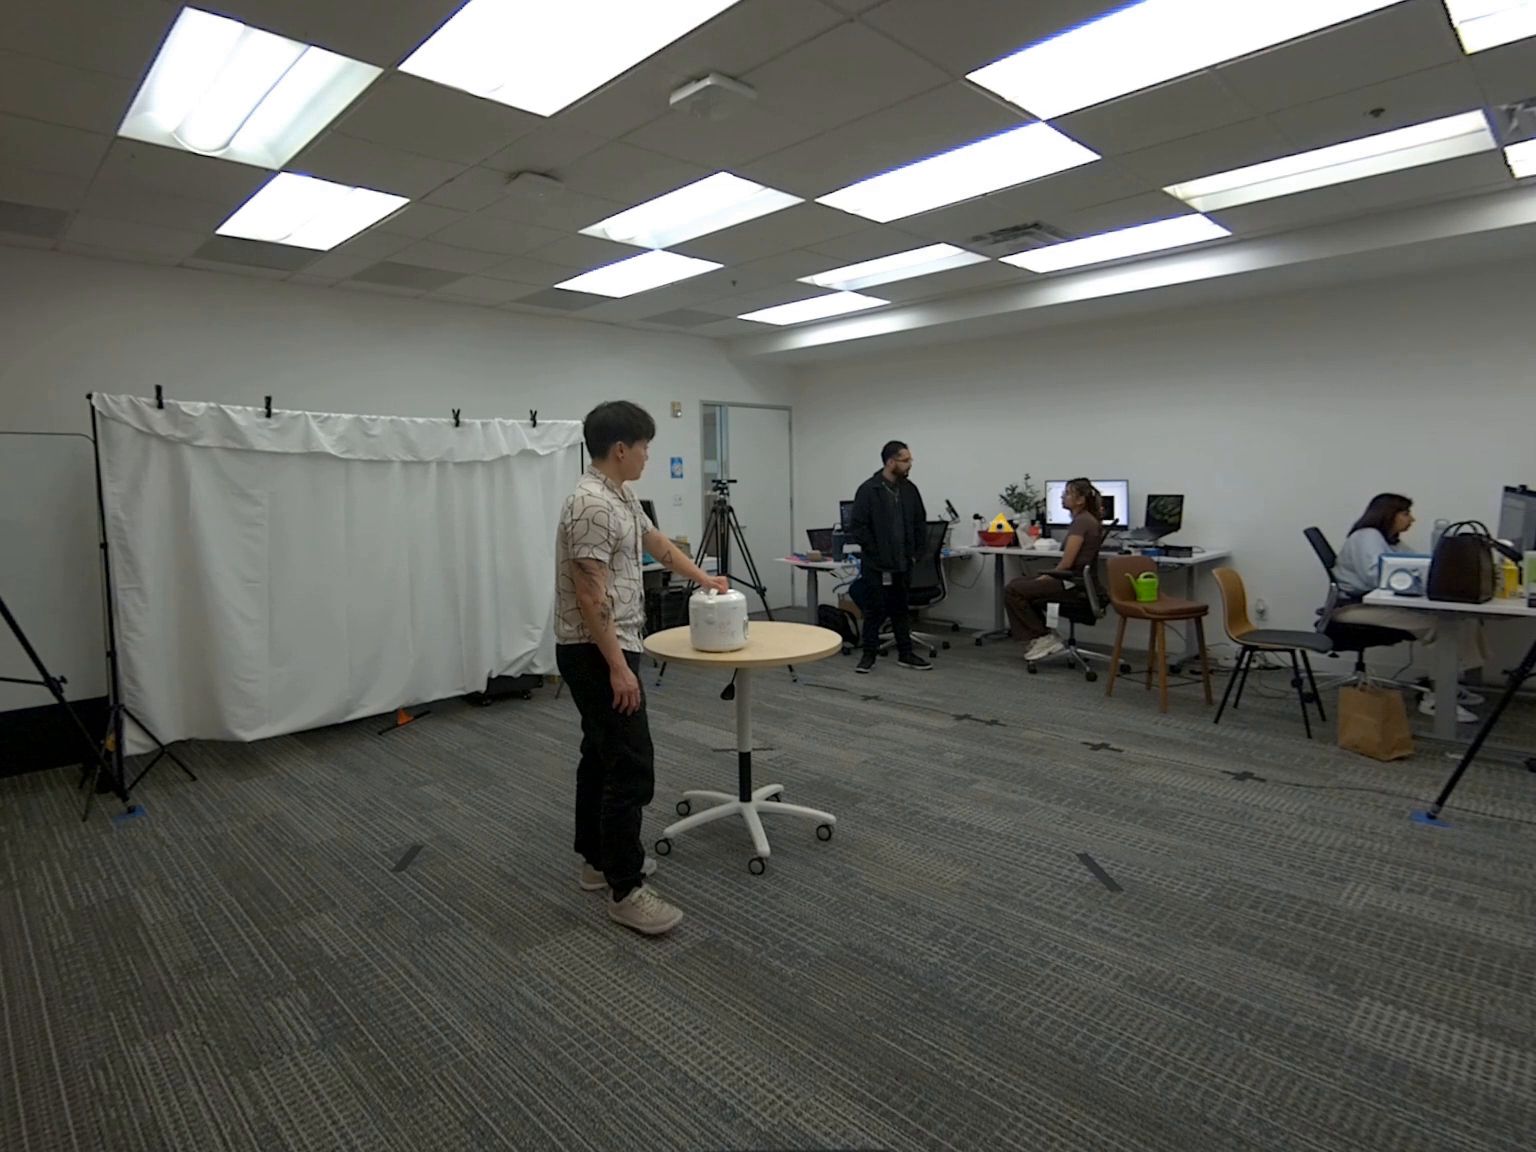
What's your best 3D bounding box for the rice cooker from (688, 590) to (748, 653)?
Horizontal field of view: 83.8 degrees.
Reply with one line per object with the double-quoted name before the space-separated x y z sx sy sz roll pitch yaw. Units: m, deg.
"rice cooker" -0.178 0.149 3.140 0.220 0.232 0.218 0 5 14
